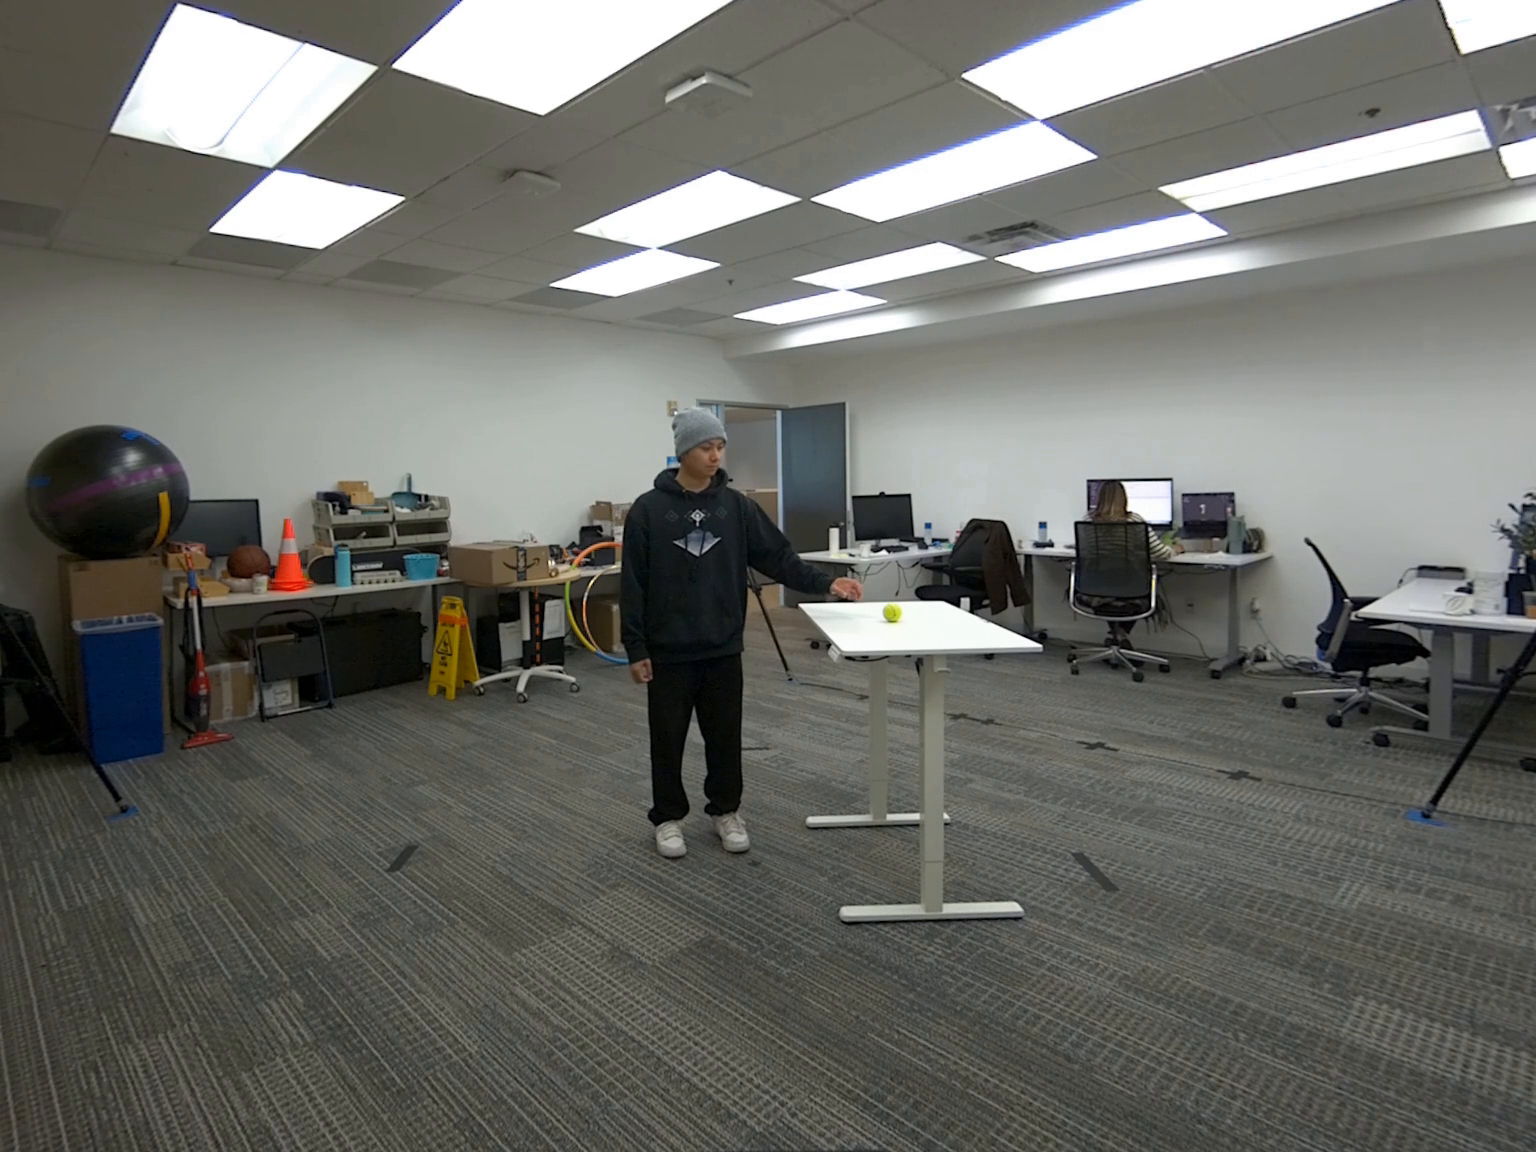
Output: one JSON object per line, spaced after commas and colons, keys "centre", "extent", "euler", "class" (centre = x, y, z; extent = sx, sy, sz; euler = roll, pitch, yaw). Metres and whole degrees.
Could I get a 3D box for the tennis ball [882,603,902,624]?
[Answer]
{"centre": [0.432, 0.129, 3.026], "extent": [0.066, 0.066, 0.067], "euler": [-1, 5, -2], "class": "tennis ball"}
